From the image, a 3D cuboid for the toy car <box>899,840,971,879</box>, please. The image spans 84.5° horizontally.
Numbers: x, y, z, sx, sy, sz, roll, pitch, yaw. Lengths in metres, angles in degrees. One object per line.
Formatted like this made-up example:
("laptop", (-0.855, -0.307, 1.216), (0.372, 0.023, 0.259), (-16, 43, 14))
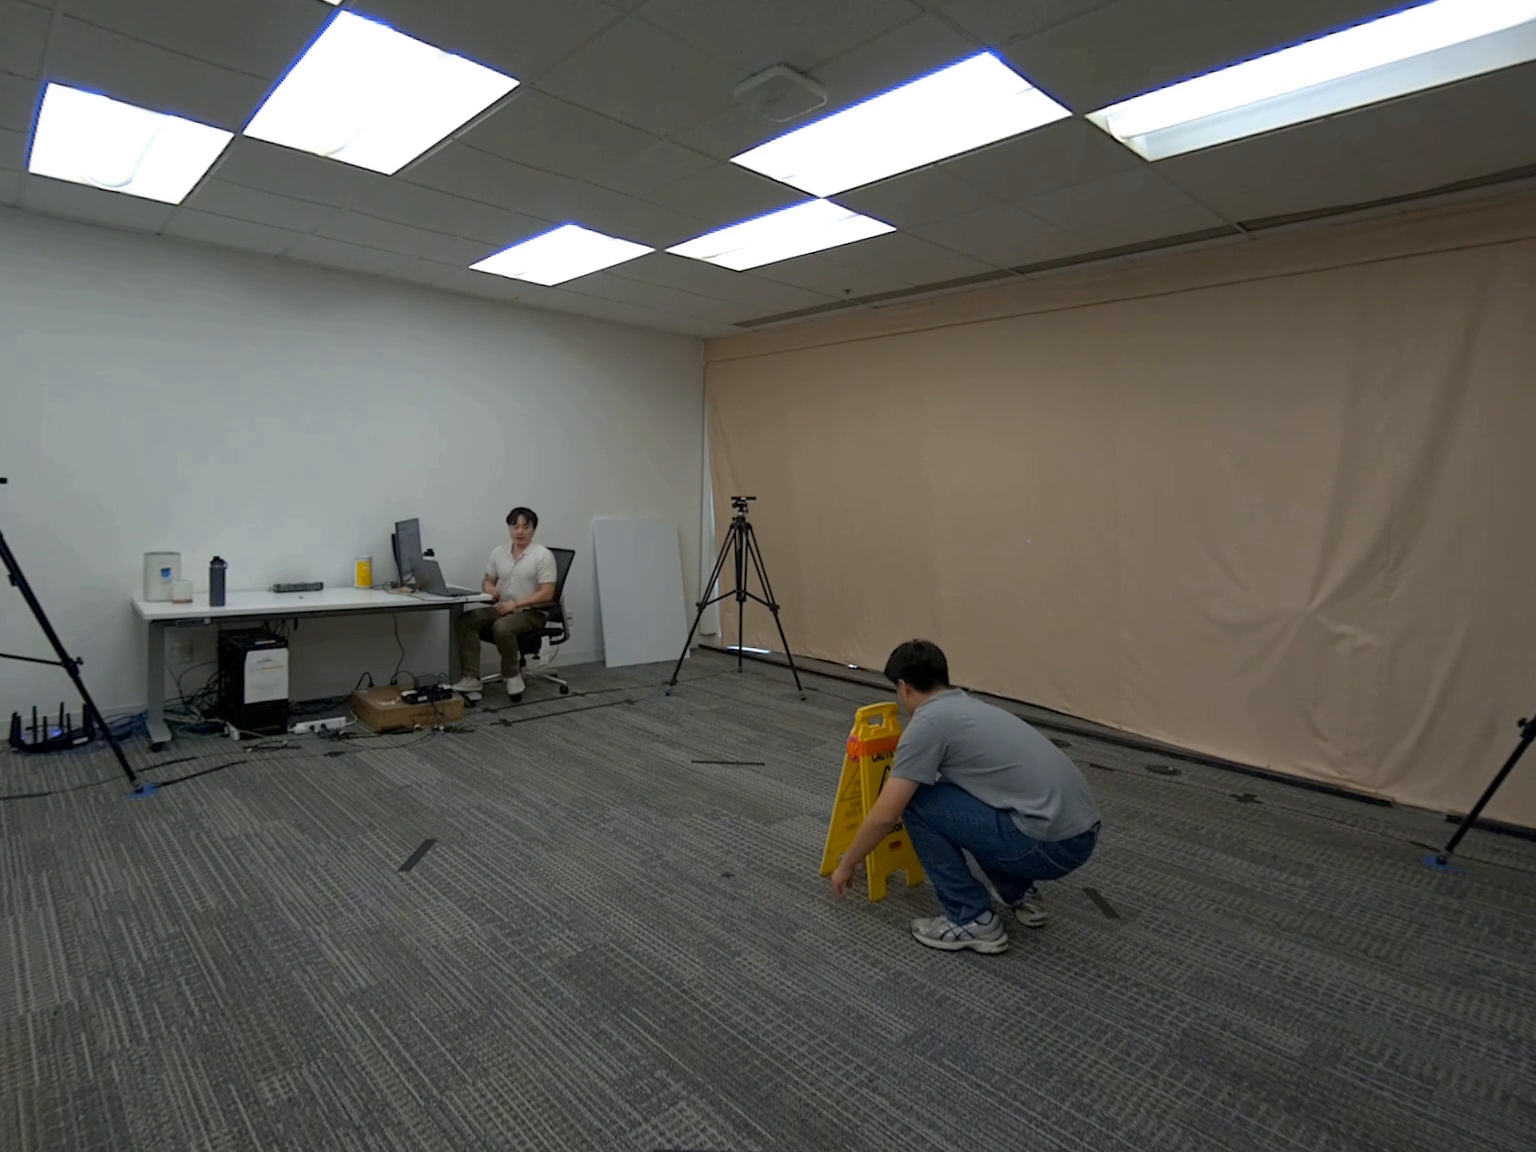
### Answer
("toy car", (0.661, 1.079, 3.332), (0.250, 0.082, 0.133), (-13, 11, -29))
